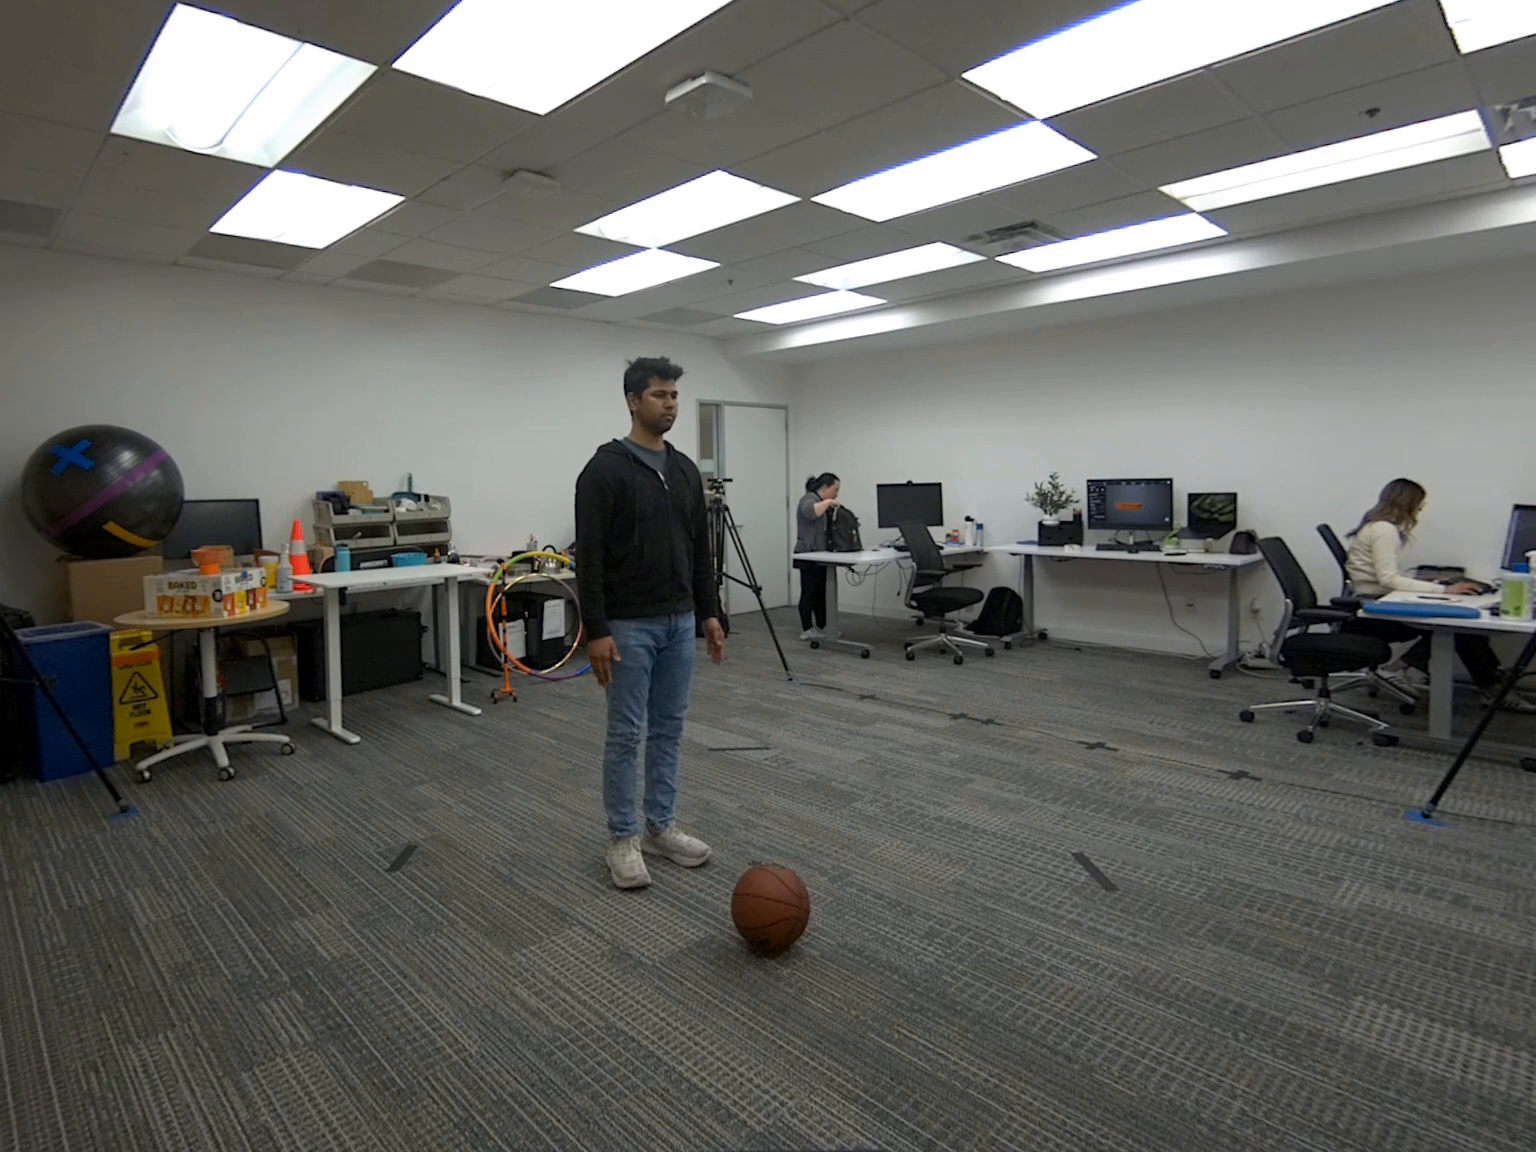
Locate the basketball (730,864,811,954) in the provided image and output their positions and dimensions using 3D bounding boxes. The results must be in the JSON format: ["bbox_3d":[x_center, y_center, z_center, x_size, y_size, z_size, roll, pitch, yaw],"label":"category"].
[{"bbox_3d":[0.015,0.988,2.557,0.236,0.235,0.237,-1,5,-2],"label":"basketball"}]
